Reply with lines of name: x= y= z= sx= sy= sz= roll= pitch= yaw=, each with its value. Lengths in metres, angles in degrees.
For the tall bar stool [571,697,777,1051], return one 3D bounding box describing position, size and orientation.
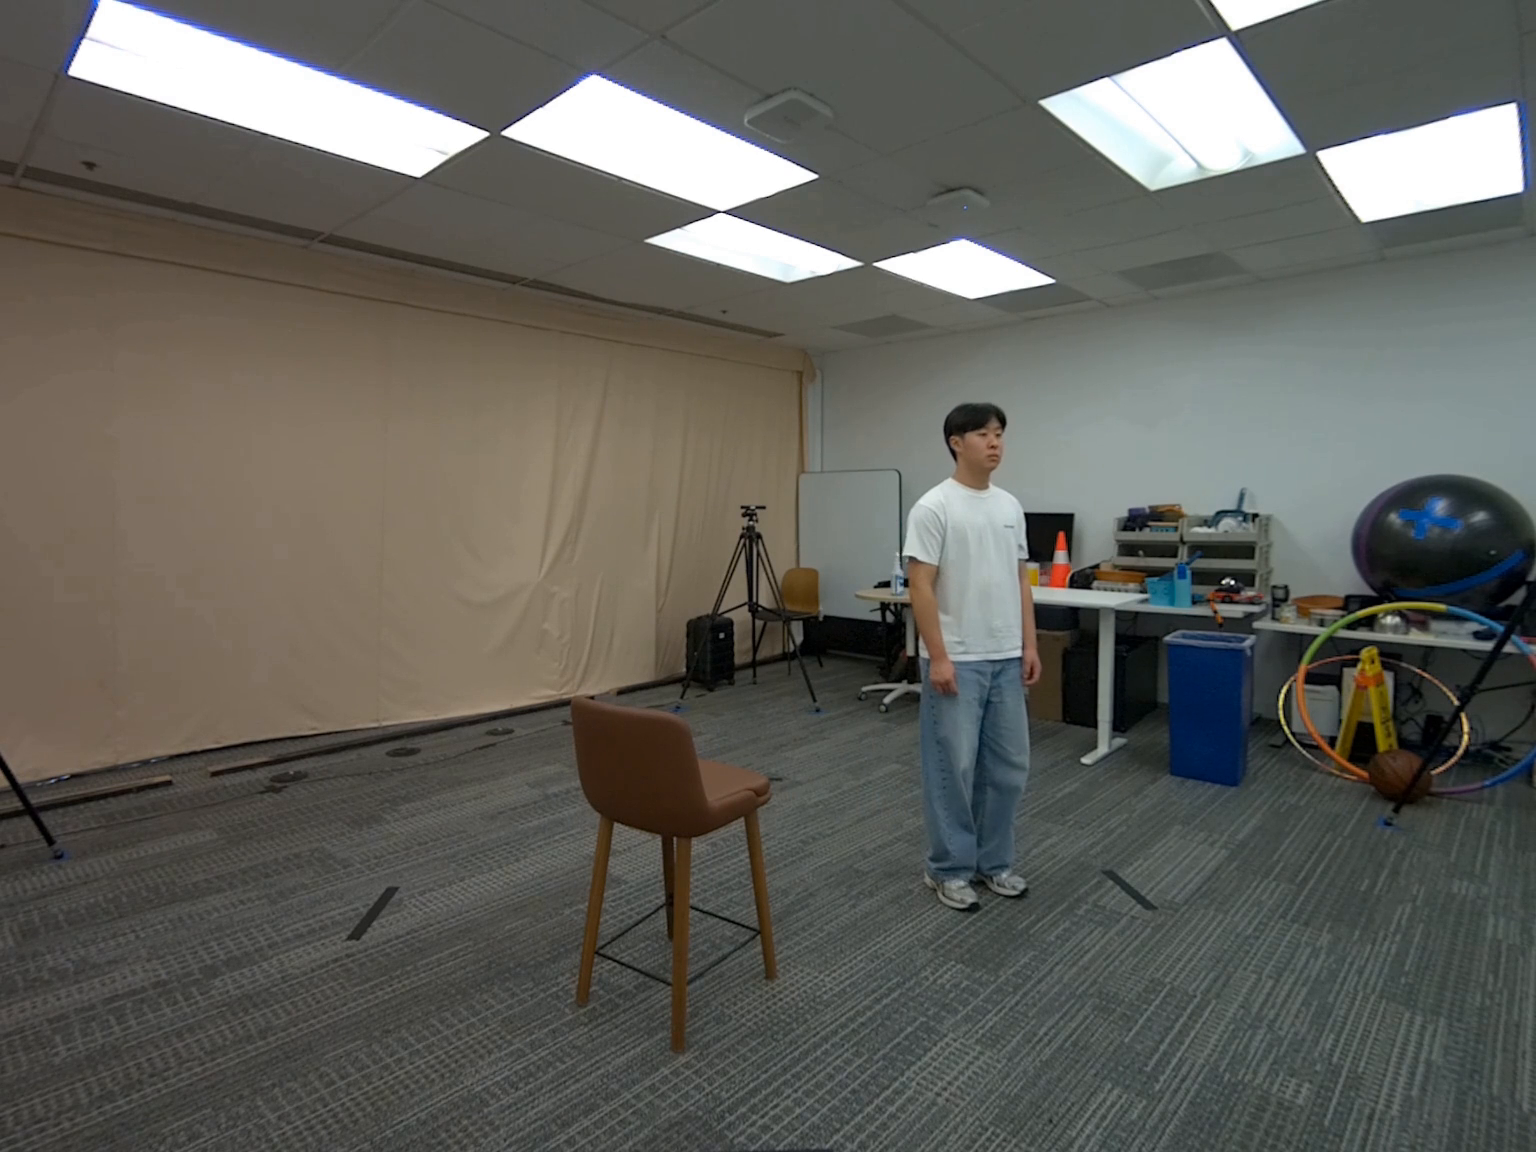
tall bar stool: x=-0.269 y=0.761 z=2.398 sx=0.471 sy=0.887 sz=0.455 roll=2 pitch=6 yaw=35
